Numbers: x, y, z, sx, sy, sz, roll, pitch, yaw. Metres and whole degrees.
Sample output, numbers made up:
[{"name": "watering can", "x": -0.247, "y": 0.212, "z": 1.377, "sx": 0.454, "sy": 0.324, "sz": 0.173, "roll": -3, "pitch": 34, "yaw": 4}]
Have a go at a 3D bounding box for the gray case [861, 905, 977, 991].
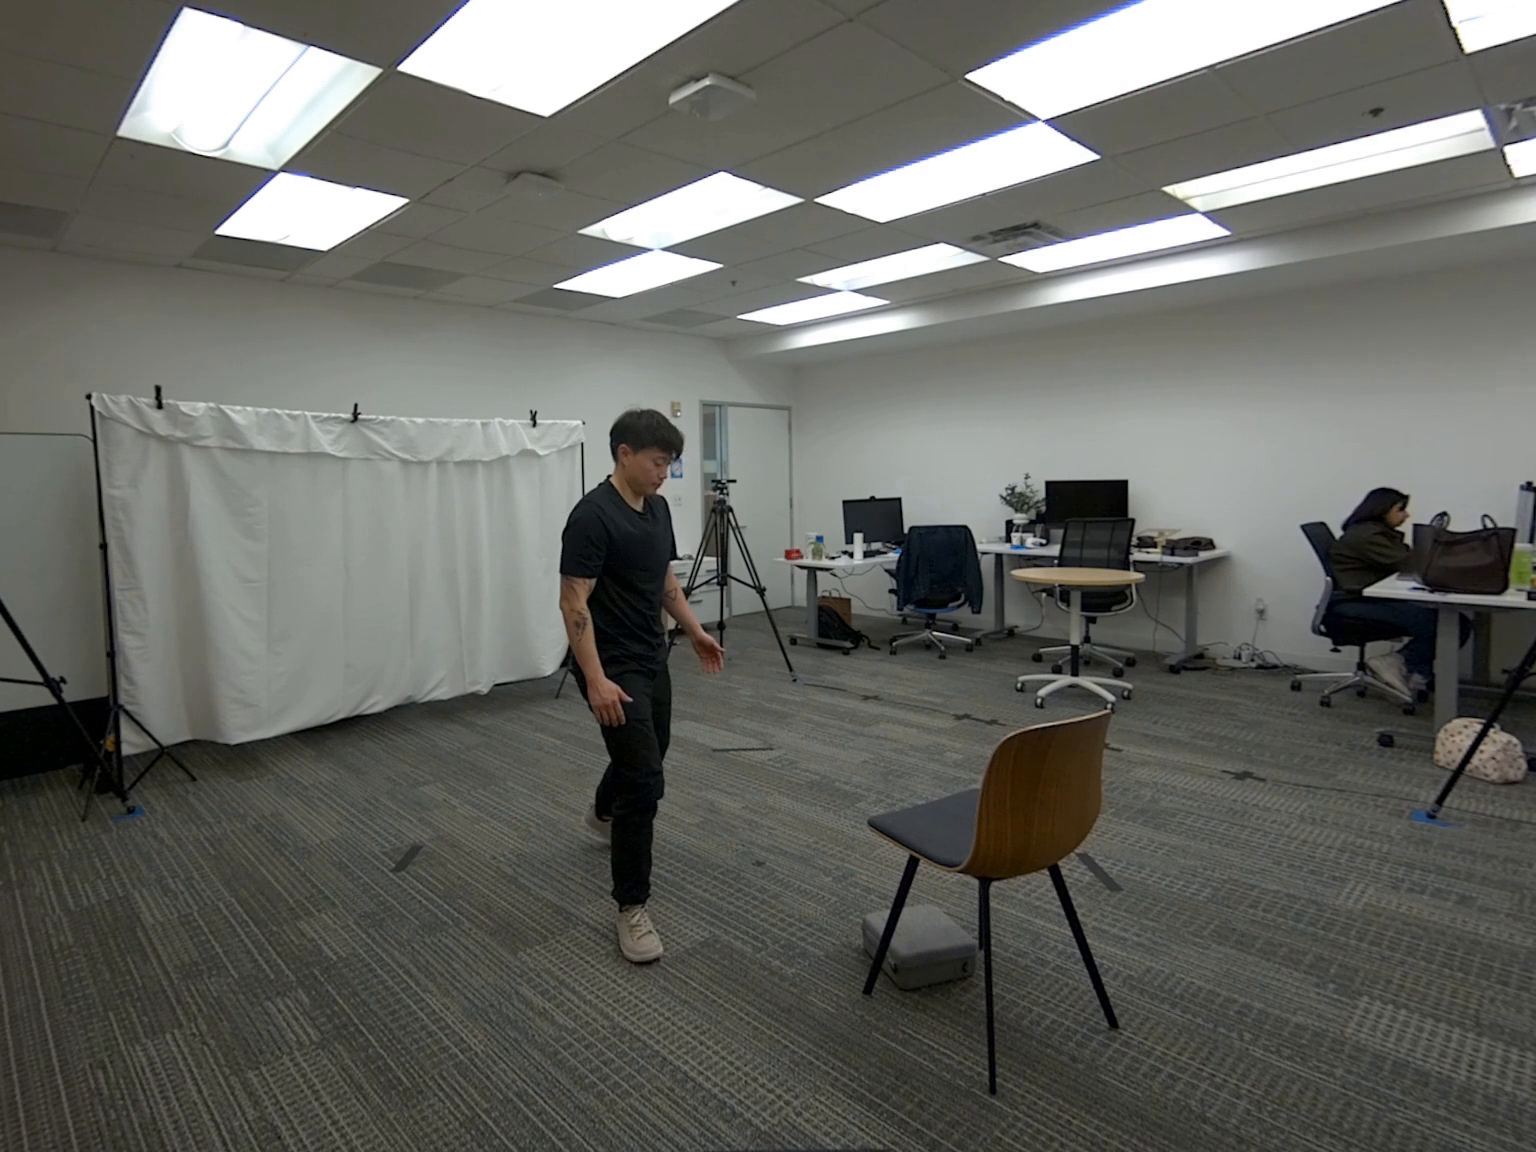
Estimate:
[{"name": "gray case", "x": 0.438, "y": 1.053, "z": 2.462, "sx": 0.256, "sy": 0.104, "sz": 0.262, "roll": -1, "pitch": 4, "yaw": -18}]
